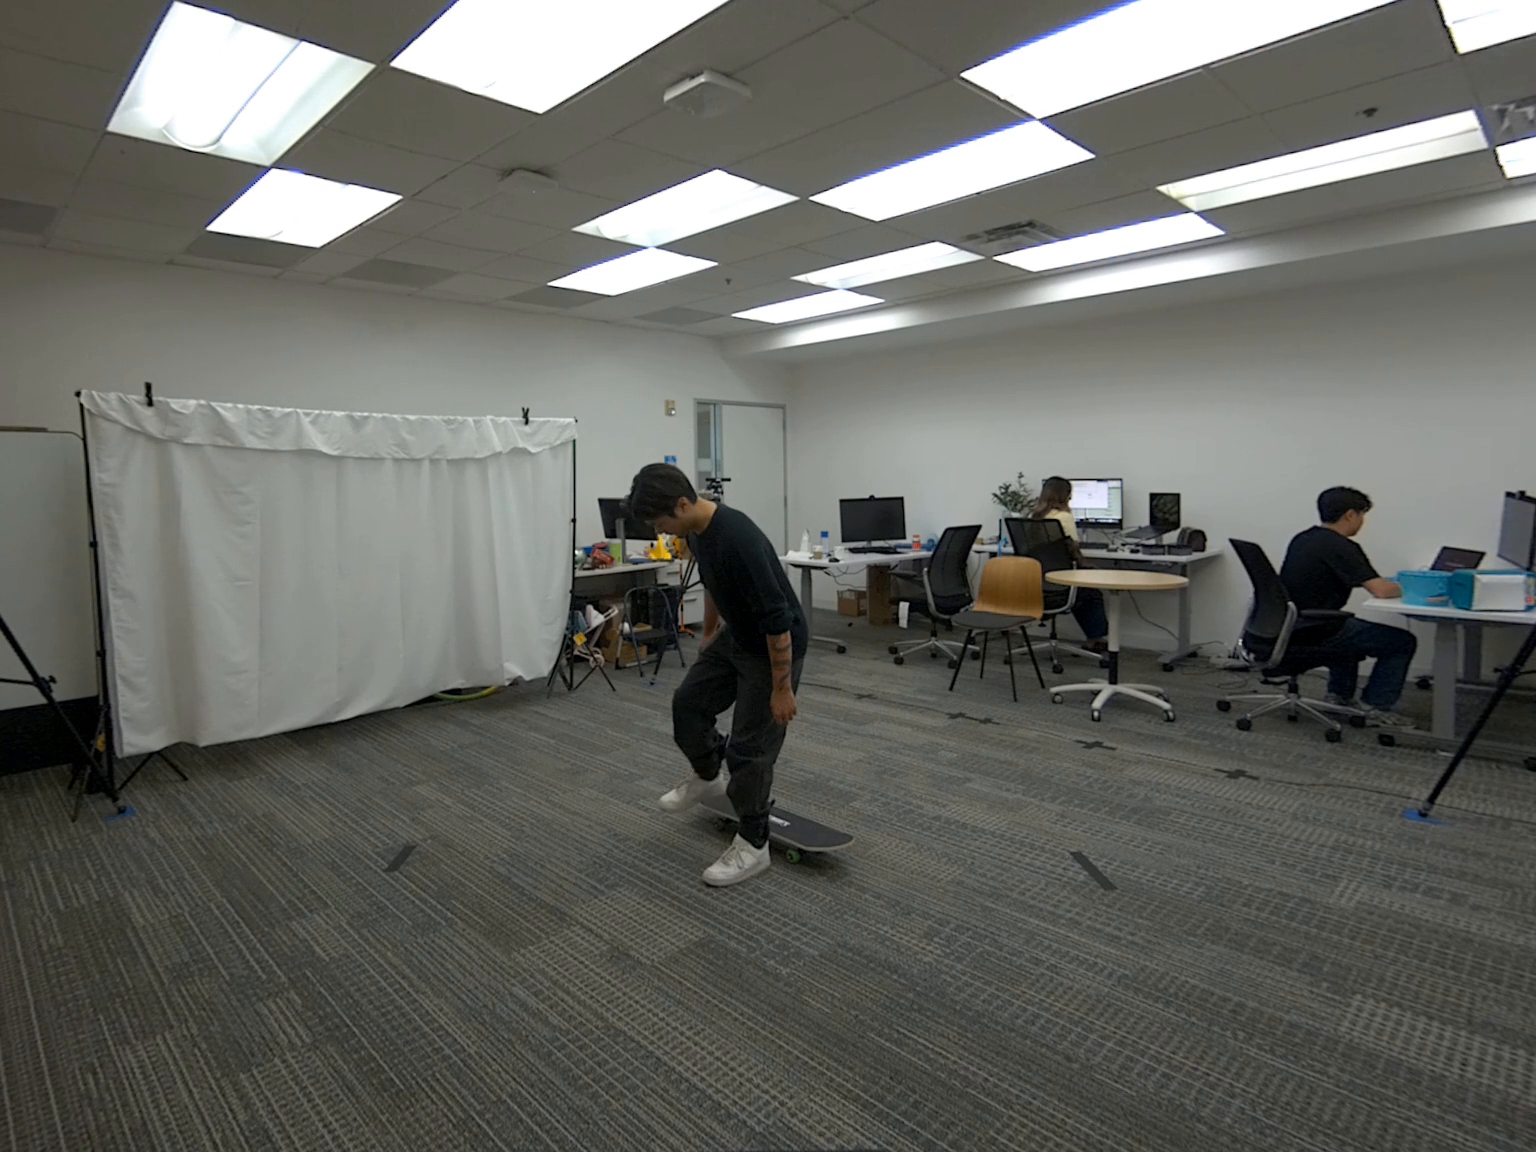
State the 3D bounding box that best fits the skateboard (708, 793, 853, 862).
[{"bbox_3d":[0.005,0.963,3.294,0.188,0.110,0.810,-6,8,-43],"label":"skateboard"}]
